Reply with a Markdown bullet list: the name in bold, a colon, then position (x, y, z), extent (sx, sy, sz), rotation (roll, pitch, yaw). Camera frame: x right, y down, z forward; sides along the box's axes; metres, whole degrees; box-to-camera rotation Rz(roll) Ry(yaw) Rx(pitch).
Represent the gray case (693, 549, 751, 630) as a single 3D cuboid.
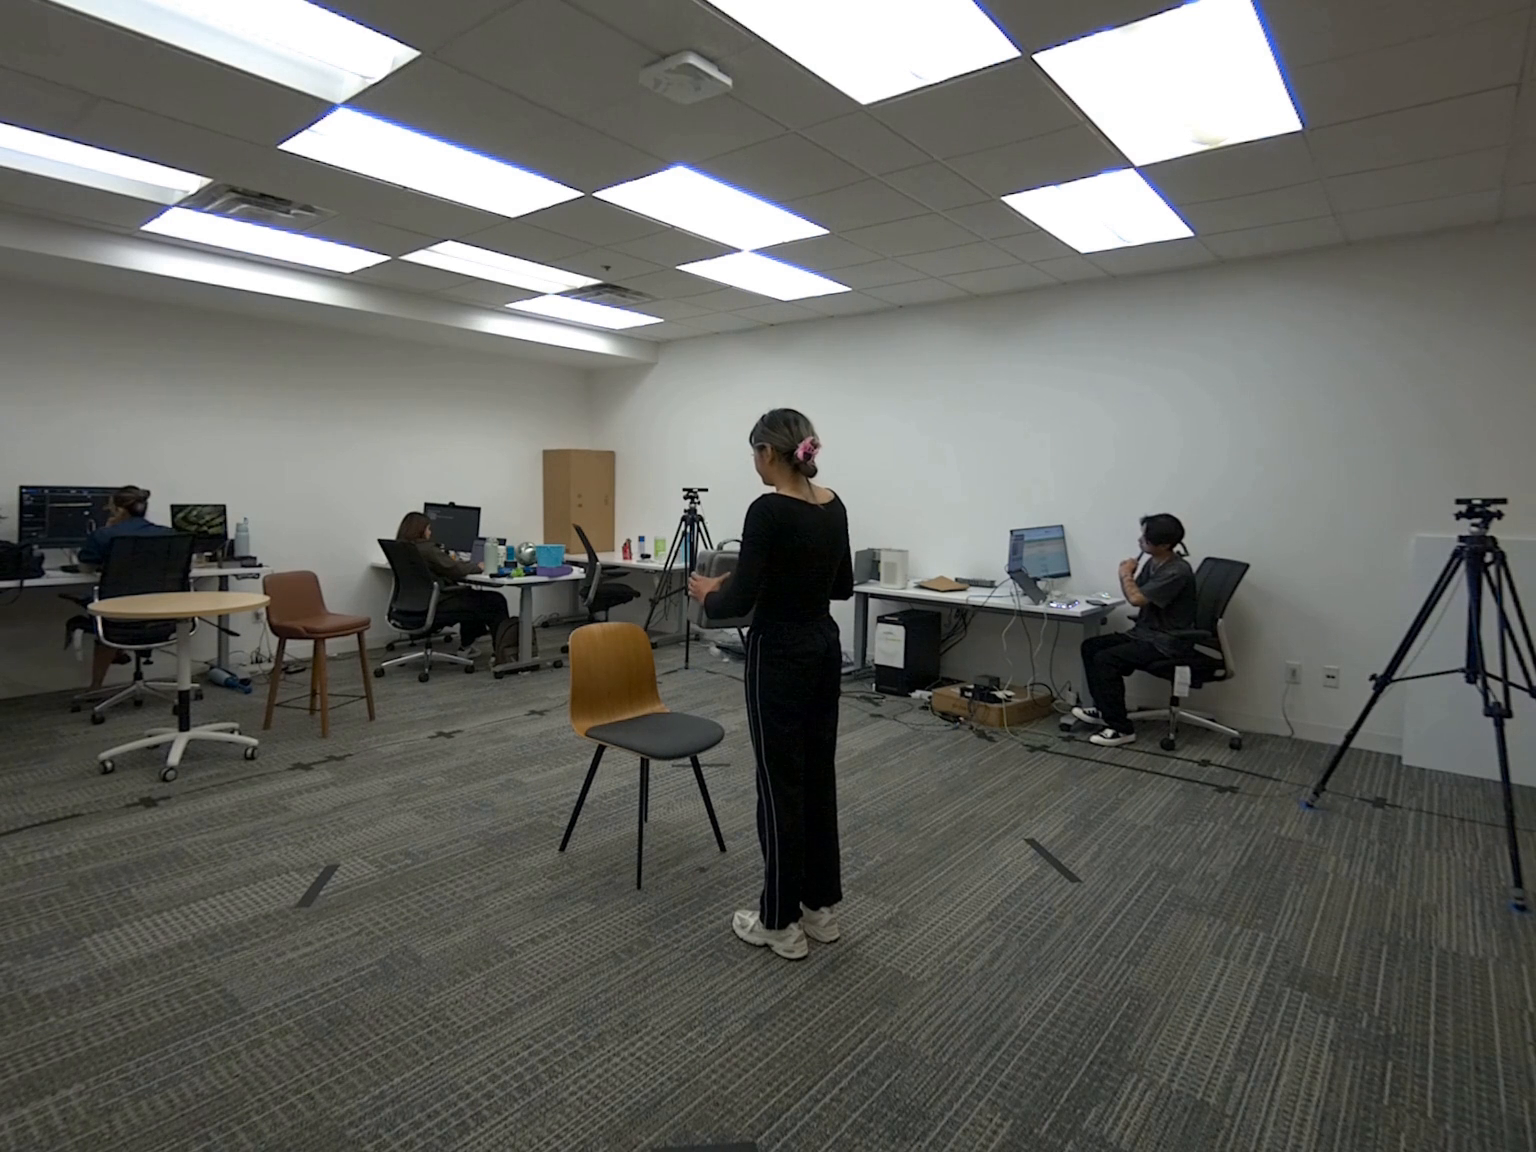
- **gray case**: position (-0.141, 0.040, 2.789), extent (0.108, 0.260, 0.248), rotation (13, 6, 43)
